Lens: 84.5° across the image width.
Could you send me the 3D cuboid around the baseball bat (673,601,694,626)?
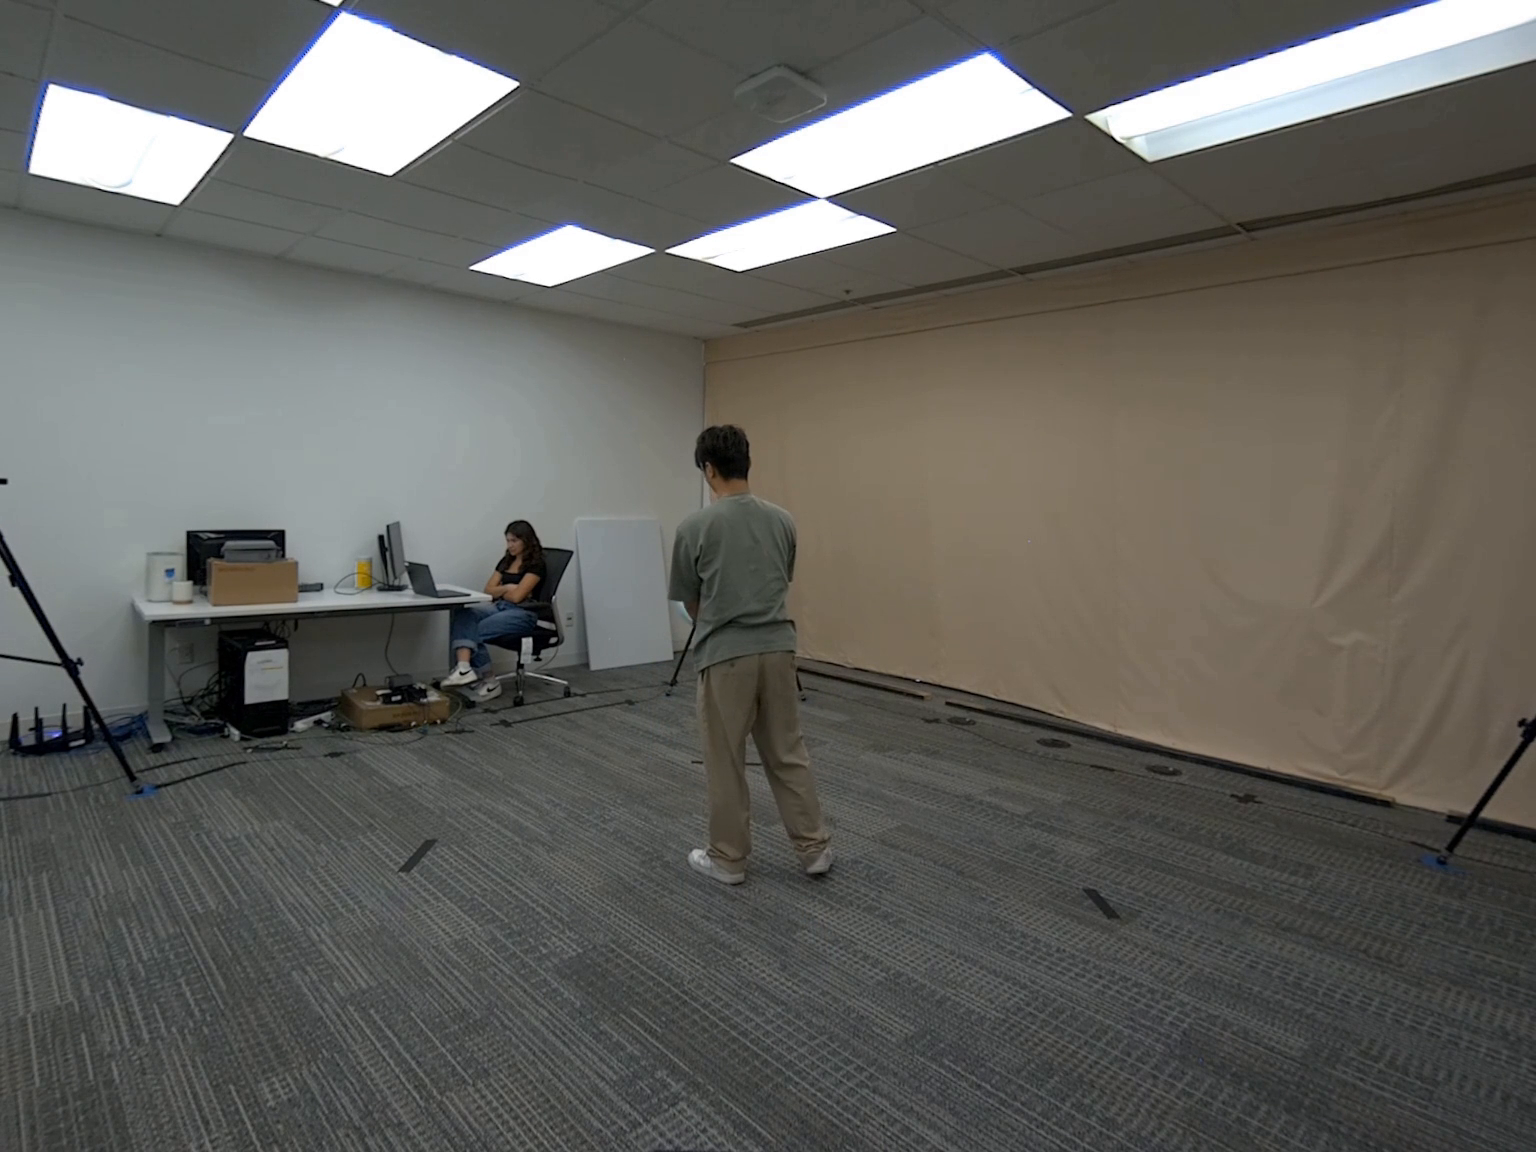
[{"bbox_3d":[-0.285,0.205,3.520,0.088,0.088,0.553,0,15,-13],"label":"baseball bat"}]
